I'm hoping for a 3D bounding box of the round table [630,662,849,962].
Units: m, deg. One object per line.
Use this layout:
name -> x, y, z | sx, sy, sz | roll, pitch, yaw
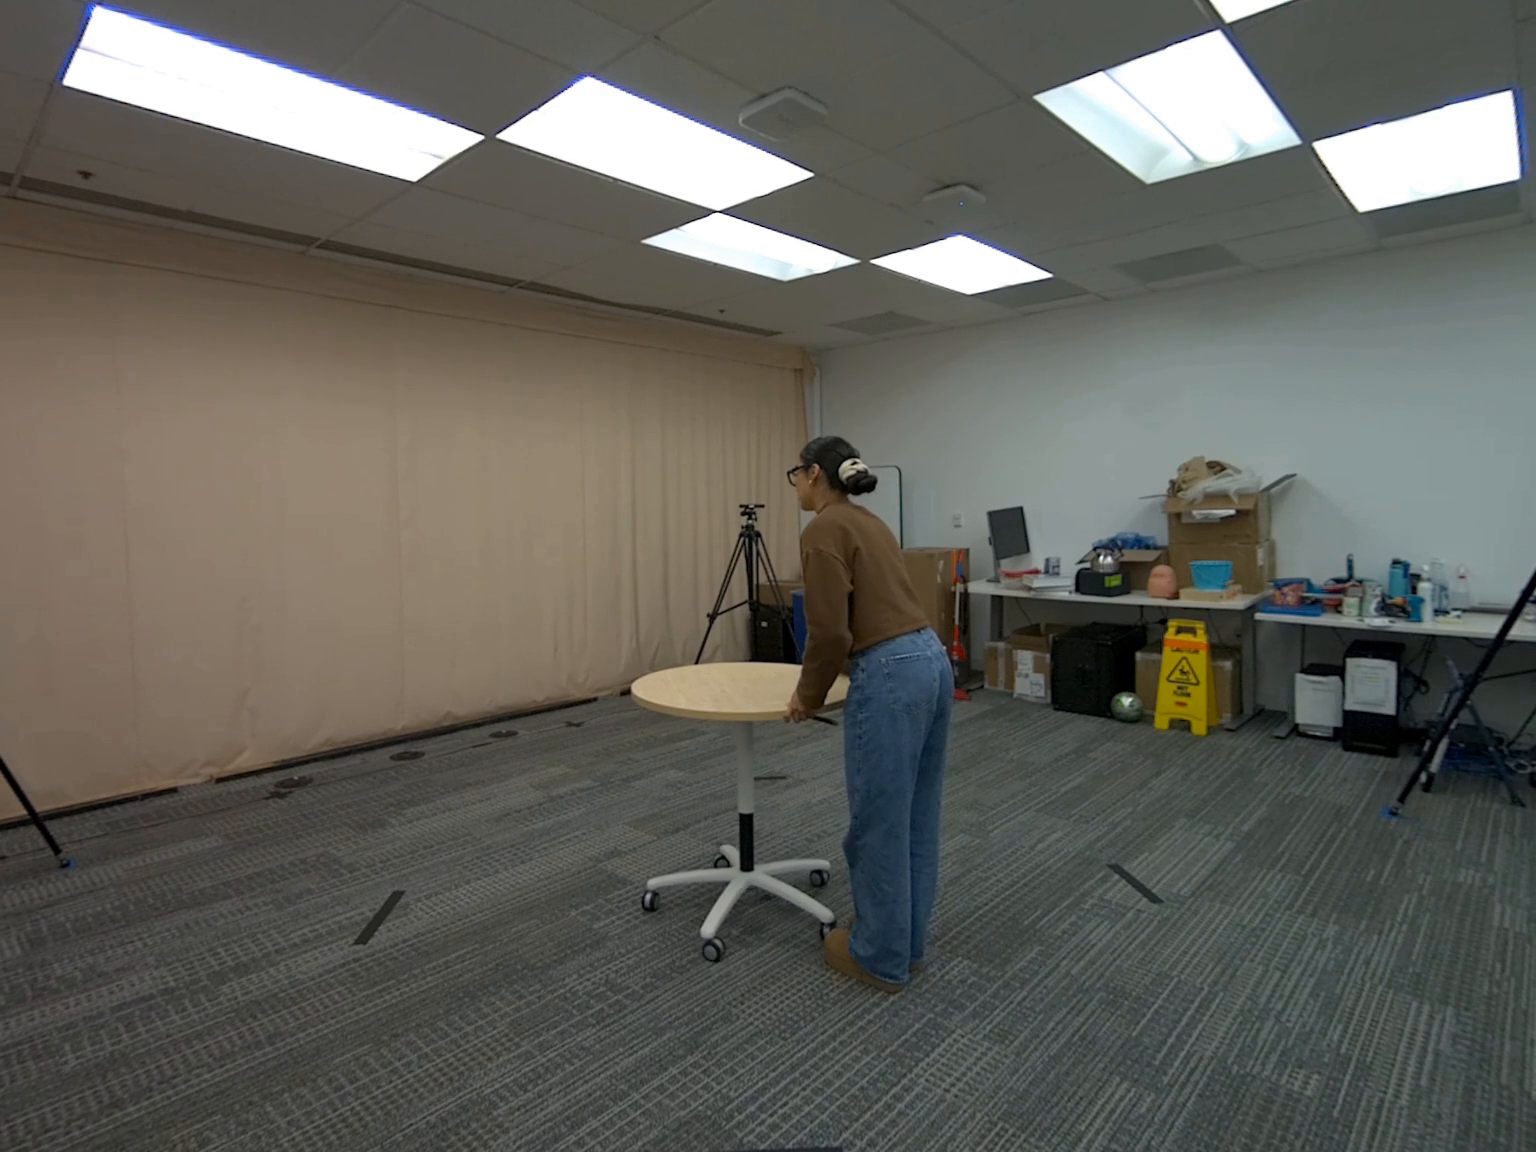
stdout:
round table -> -0.078, 0.762, 2.878 | 0.763, 0.792, 0.766 | -1, 4, -2
